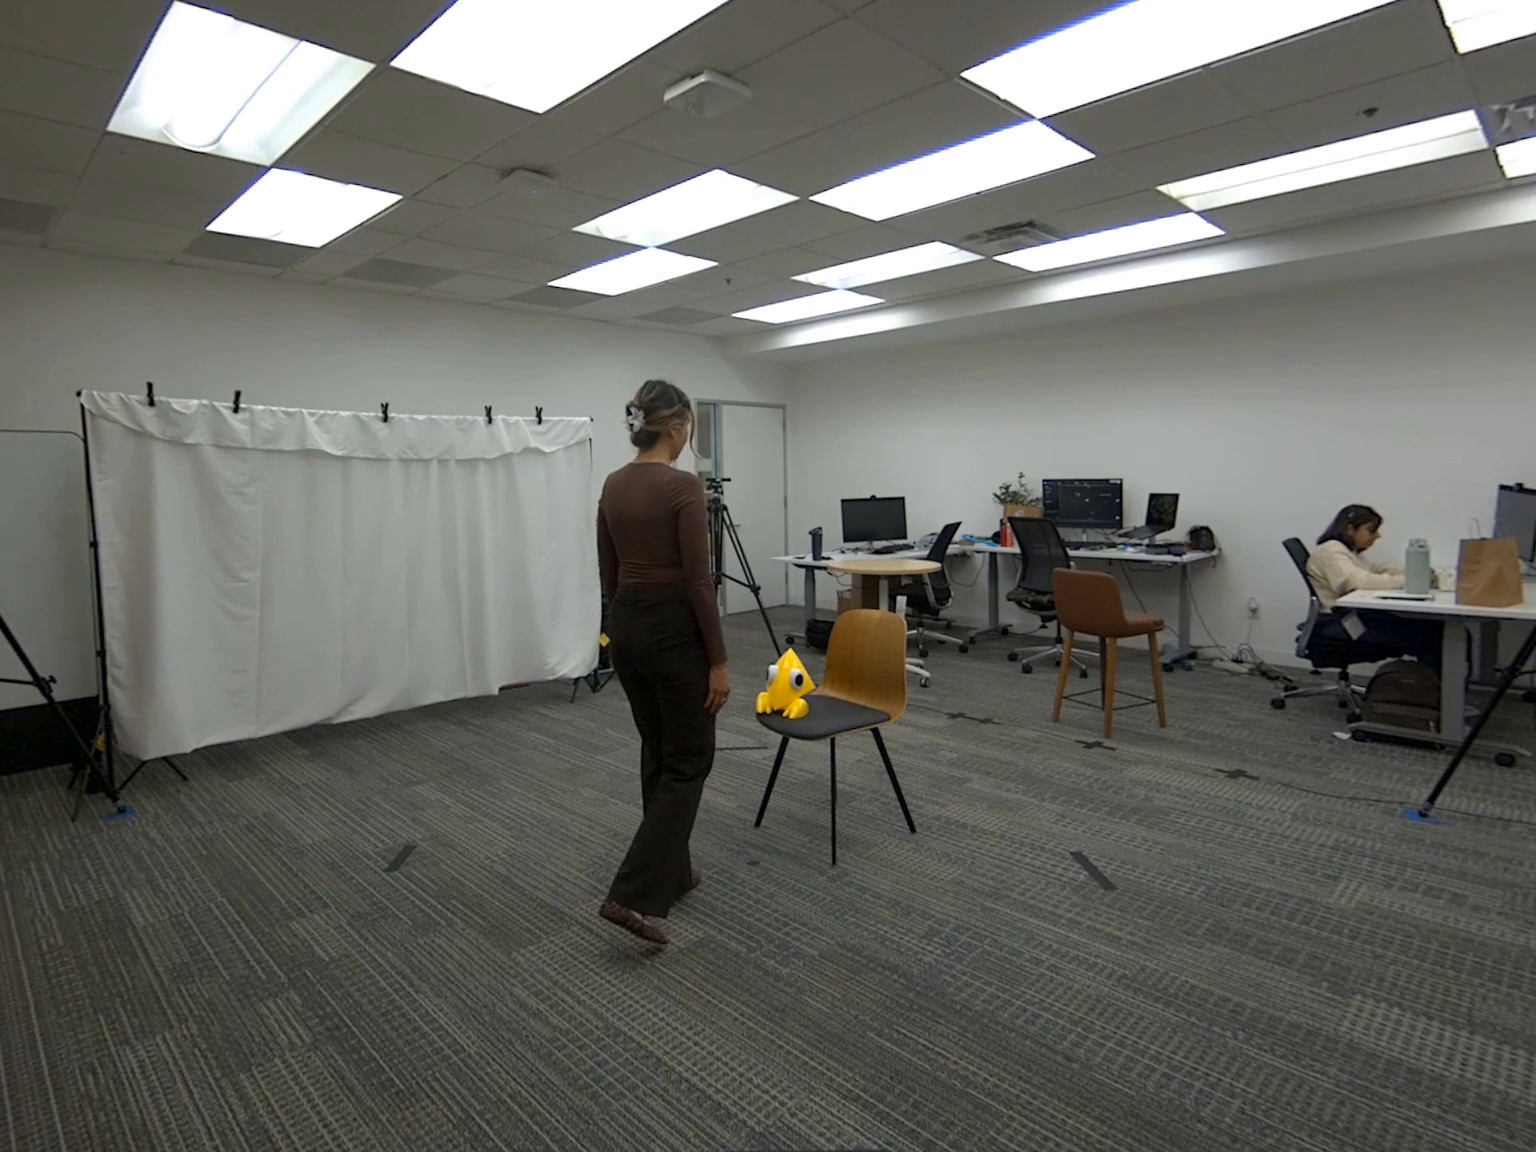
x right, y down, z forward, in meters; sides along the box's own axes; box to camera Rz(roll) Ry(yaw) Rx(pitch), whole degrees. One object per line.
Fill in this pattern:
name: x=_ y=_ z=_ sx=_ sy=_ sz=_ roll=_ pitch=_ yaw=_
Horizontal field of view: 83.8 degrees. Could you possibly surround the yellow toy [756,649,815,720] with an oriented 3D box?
yellow toy: x=0.063 y=0.413 z=3.344 sx=0.209 sy=0.229 sz=0.190 roll=6 pitch=8 yaw=21
